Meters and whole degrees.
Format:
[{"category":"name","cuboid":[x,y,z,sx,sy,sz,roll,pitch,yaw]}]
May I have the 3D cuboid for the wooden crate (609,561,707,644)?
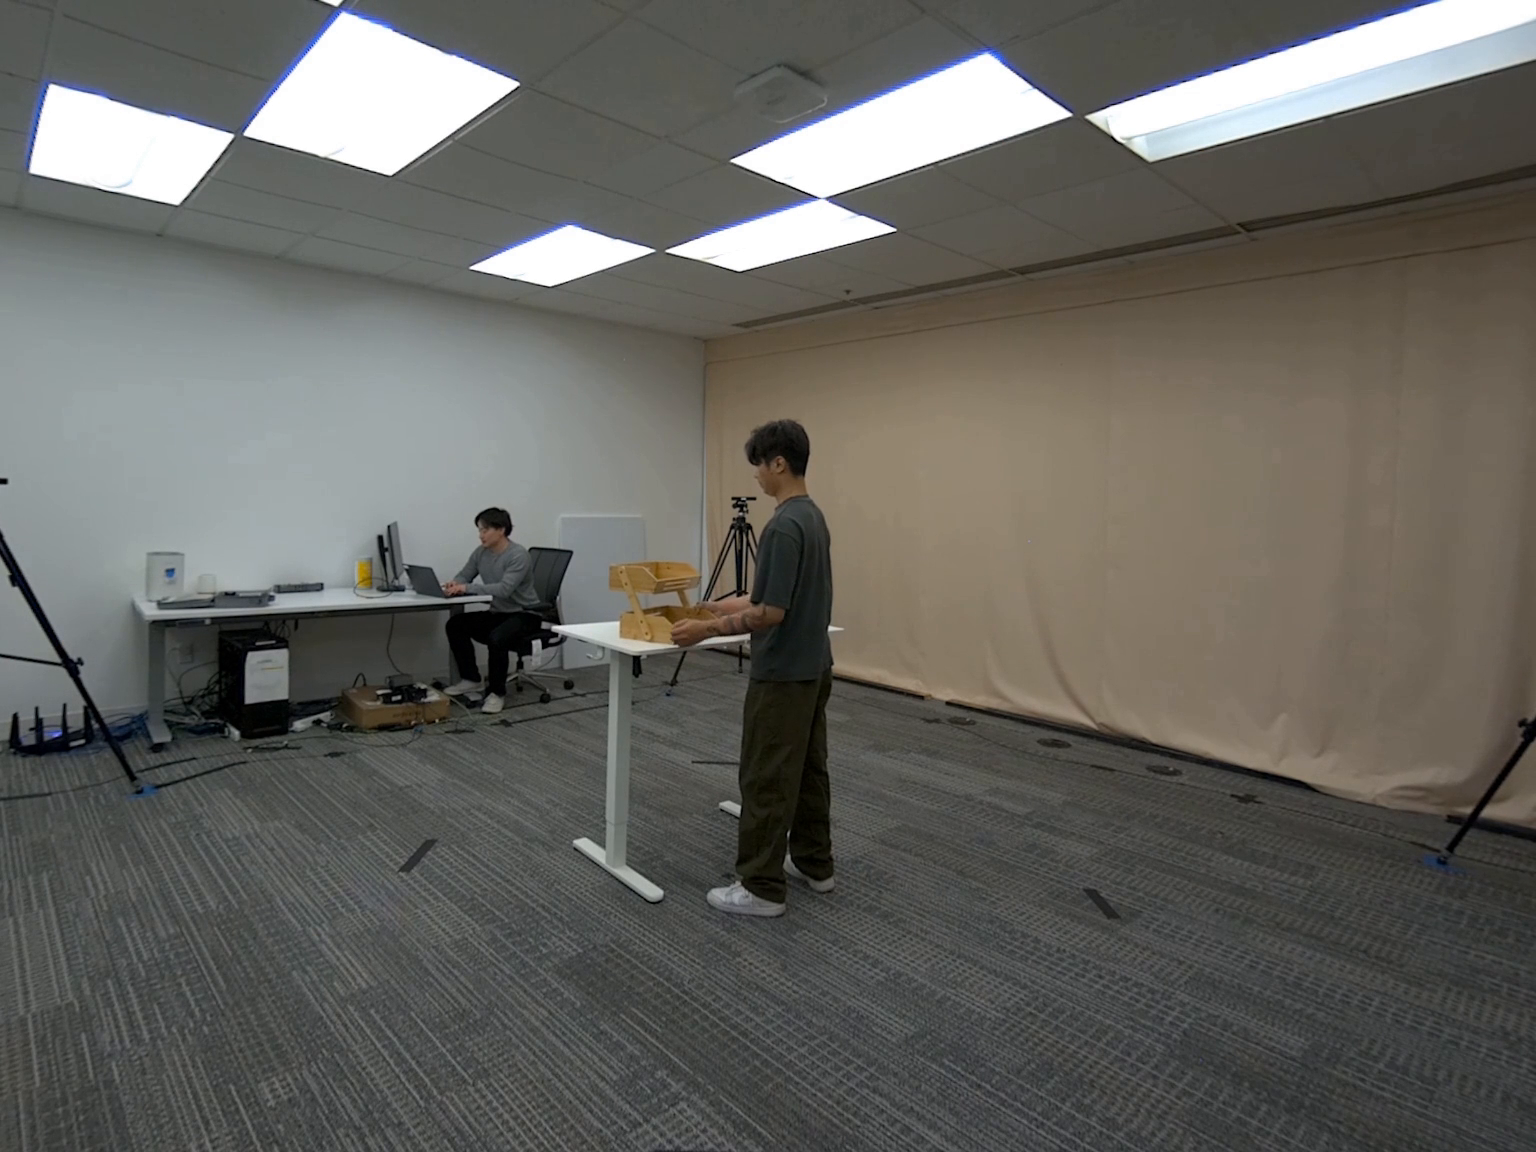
[{"category":"wooden crate","cuboid":[-0.372,0.087,3.083,0.308,0.273,0.318,3,4,27]}]
